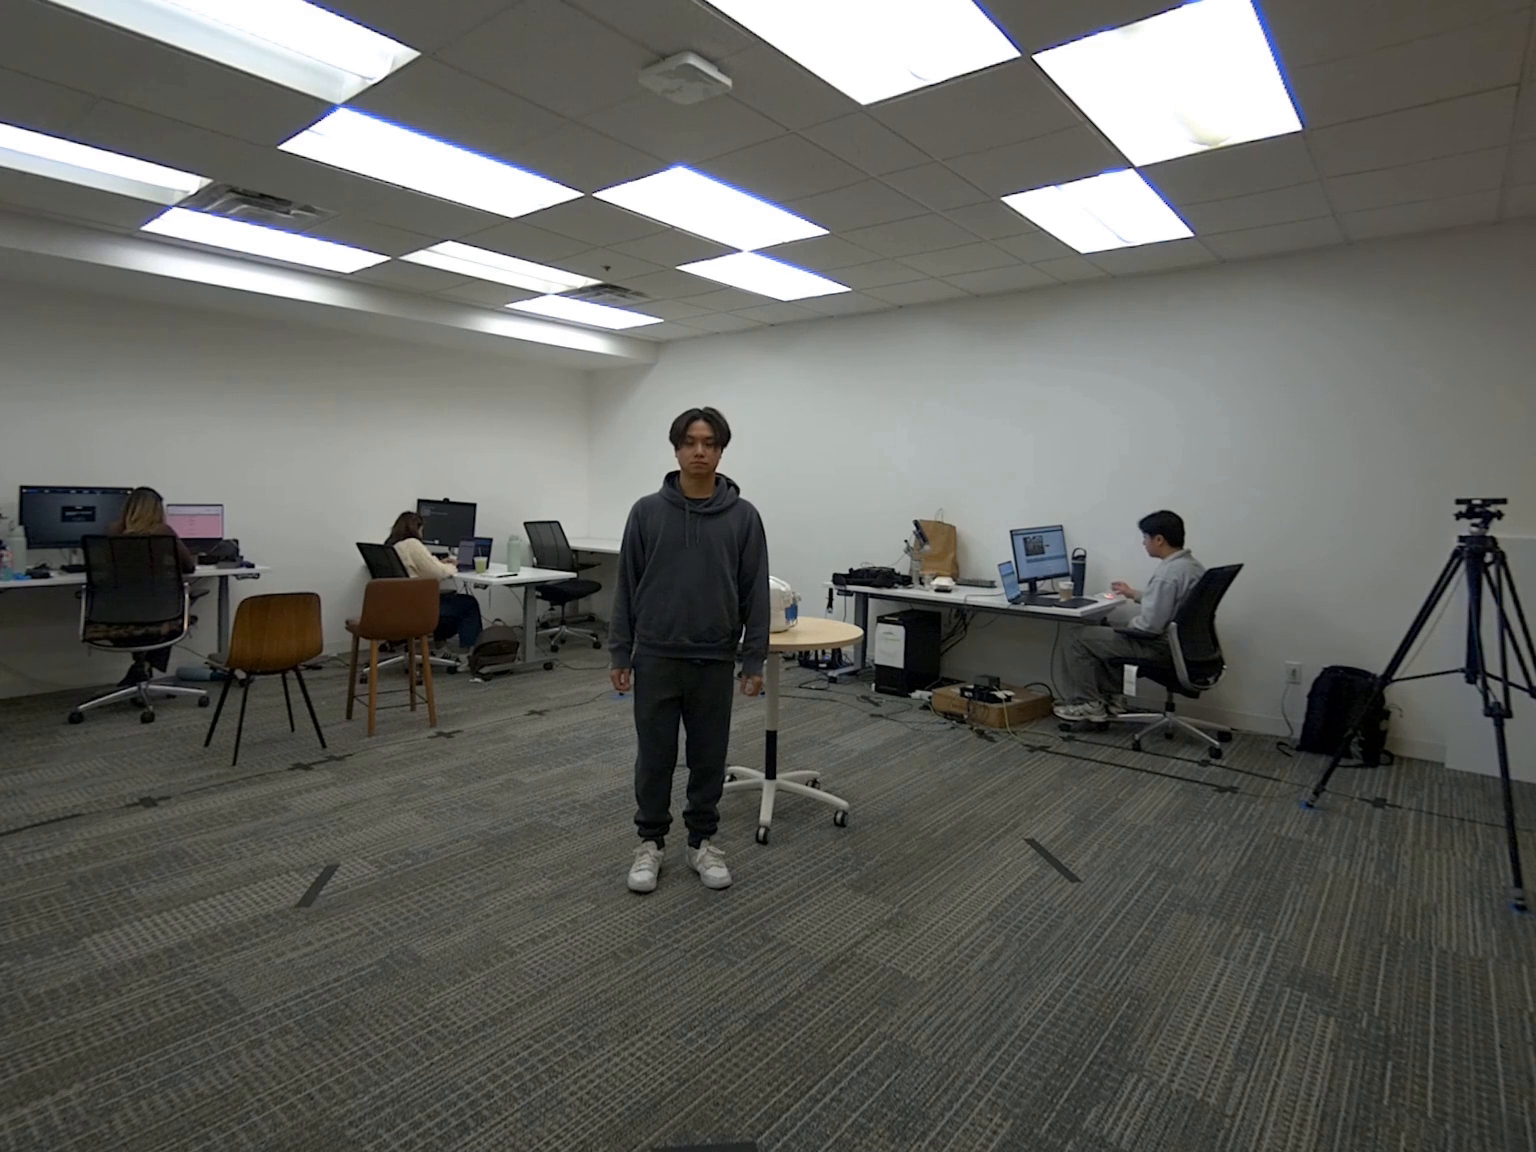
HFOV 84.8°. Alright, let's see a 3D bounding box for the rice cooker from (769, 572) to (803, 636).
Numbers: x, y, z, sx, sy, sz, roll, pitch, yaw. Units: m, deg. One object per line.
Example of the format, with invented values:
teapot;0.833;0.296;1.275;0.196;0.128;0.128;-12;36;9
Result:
rice cooker;-0.013;0.110;3.605;0.228;0.232;0.211;5;5;39
